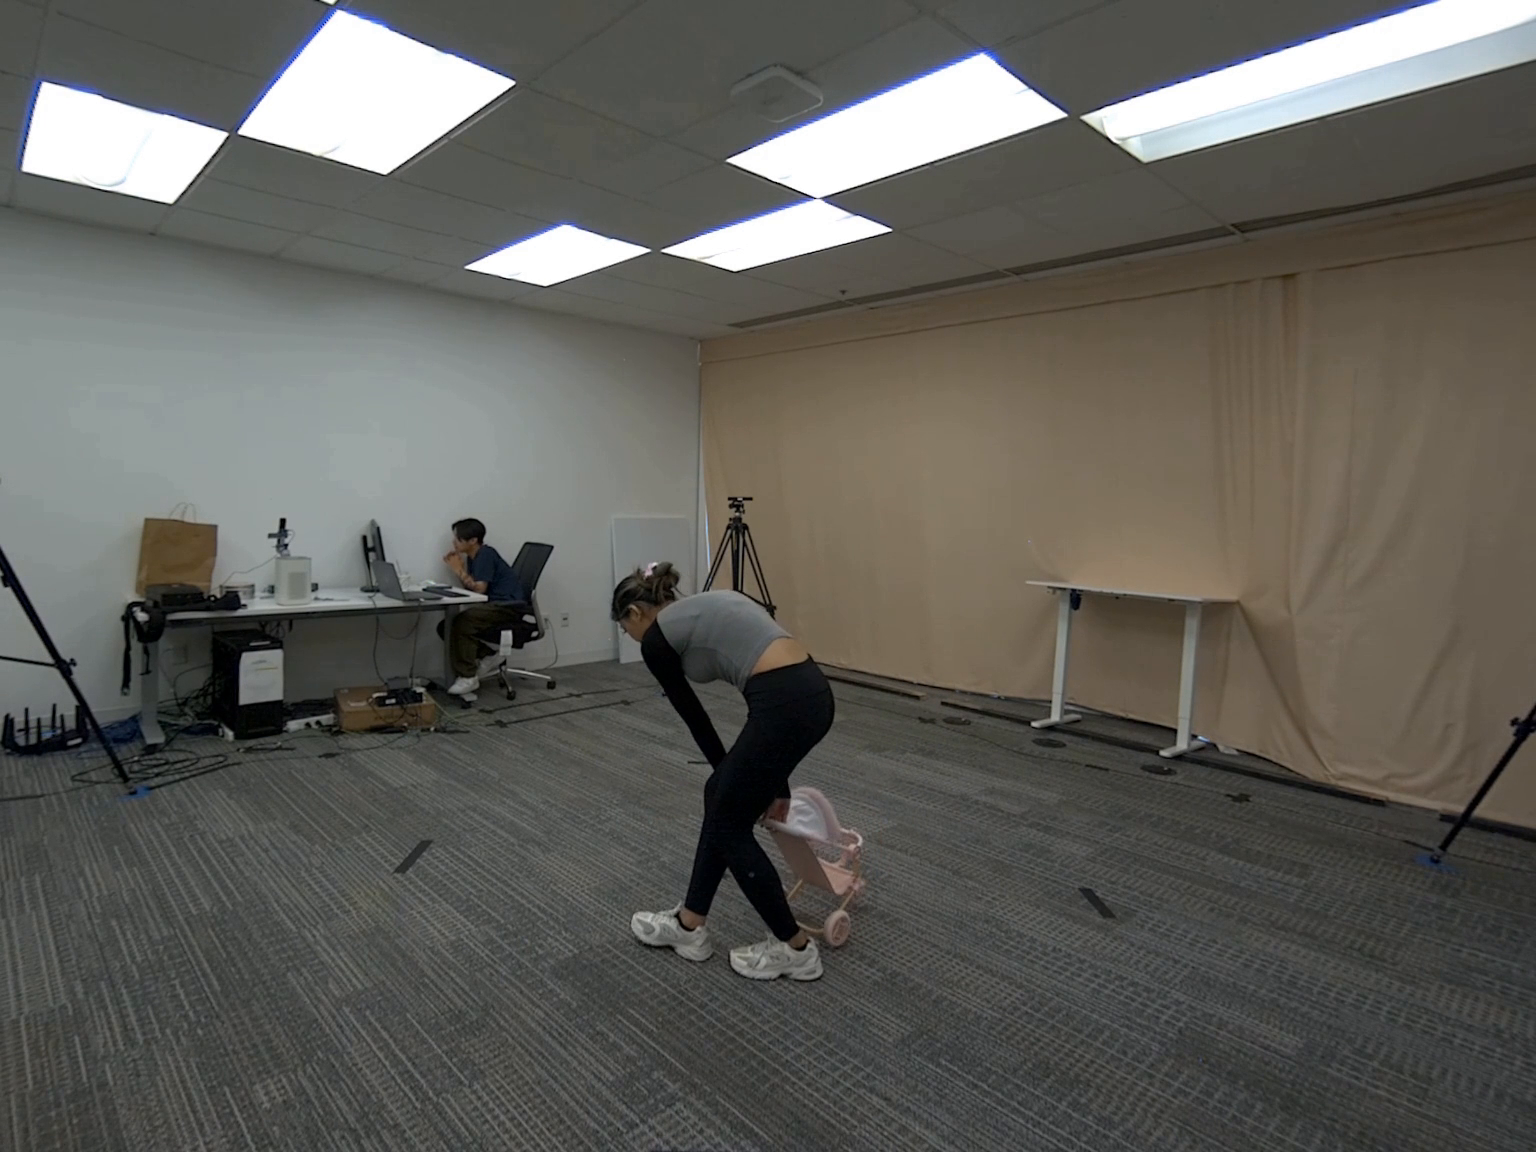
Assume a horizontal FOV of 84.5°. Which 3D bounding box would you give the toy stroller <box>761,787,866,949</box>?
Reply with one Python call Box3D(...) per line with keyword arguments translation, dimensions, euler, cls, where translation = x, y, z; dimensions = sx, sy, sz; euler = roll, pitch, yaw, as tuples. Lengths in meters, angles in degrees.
Box3D(translation=(0.155, 0.918, 2.737), dimensions=(0.338, 0.528, 0.288), euler=(-28, 19, -38), cls="toy stroller")
